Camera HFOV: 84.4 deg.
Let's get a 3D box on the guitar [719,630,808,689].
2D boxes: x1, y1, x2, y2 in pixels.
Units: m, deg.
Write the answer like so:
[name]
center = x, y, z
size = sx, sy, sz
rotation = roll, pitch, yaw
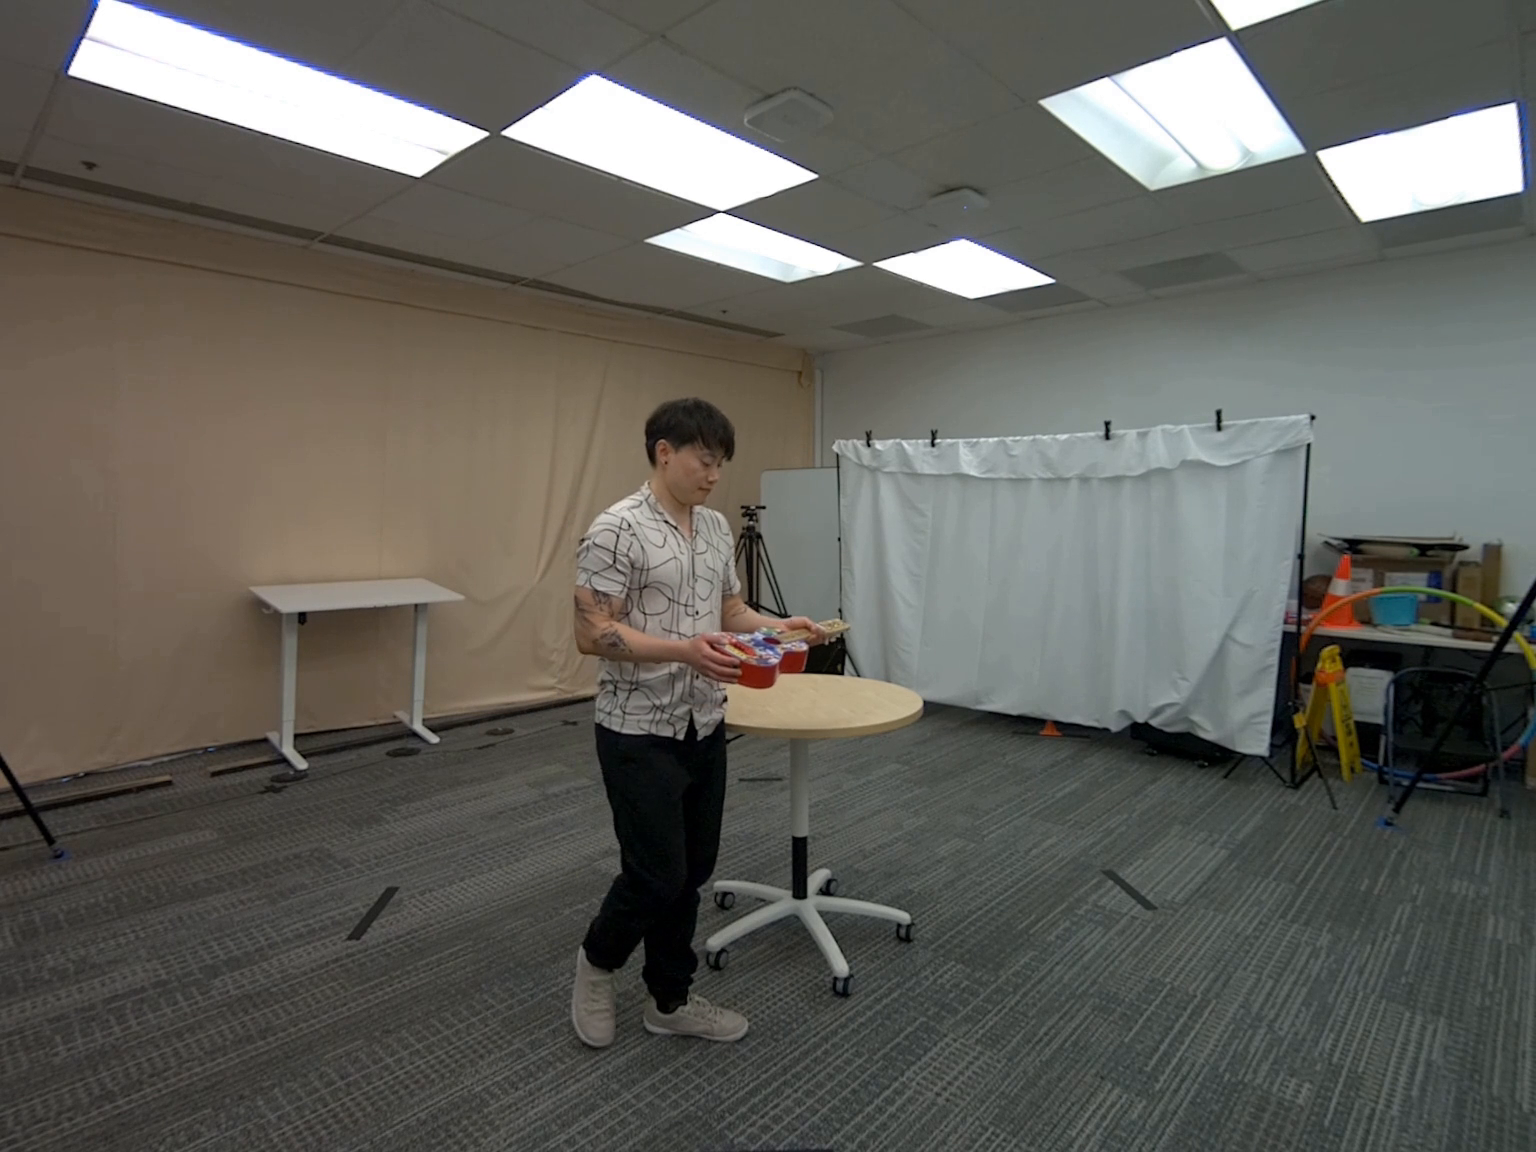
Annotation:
[guitar]
center = 0.074, 0.189, 2.091
size = 0.482, 0.070, 0.200
rotation = -3, 22, -40
